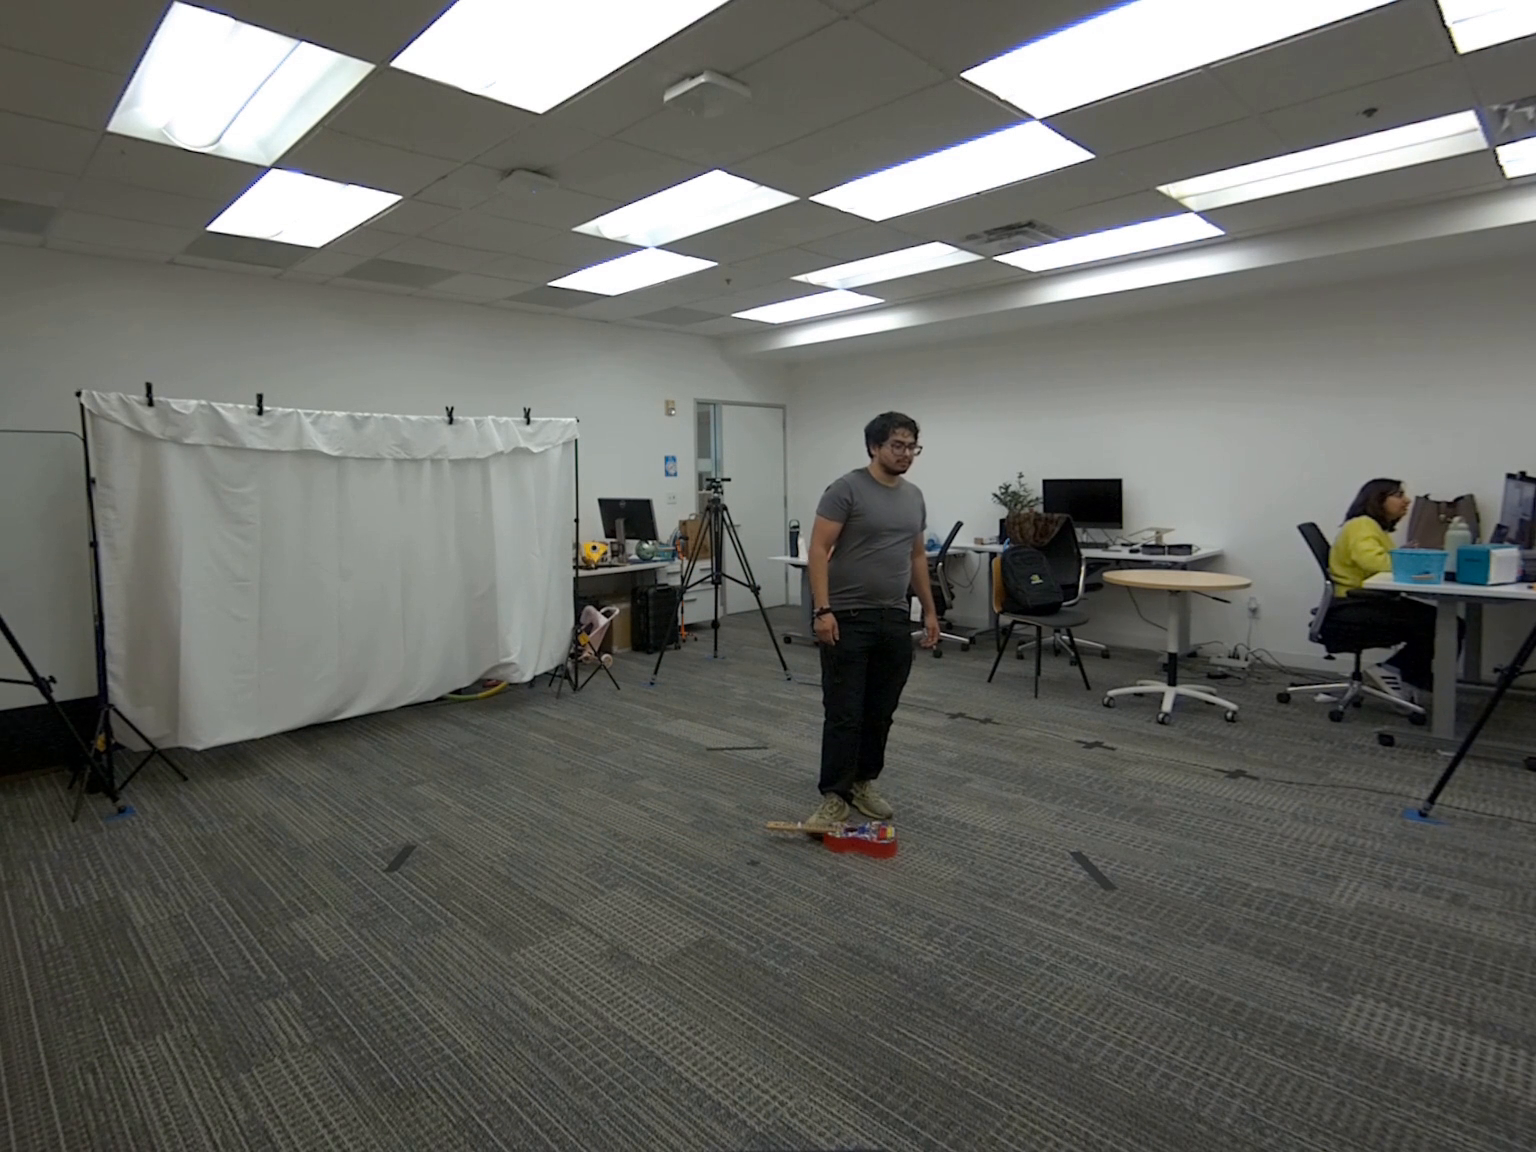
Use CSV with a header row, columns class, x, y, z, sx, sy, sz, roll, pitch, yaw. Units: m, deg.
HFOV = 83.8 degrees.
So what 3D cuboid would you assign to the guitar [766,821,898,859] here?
class,x,y,z,sx,sy,sz,roll,pitch,yaw
guitar,0.252,0.991,3.278,0.507,0.070,0.190,2,7,19
